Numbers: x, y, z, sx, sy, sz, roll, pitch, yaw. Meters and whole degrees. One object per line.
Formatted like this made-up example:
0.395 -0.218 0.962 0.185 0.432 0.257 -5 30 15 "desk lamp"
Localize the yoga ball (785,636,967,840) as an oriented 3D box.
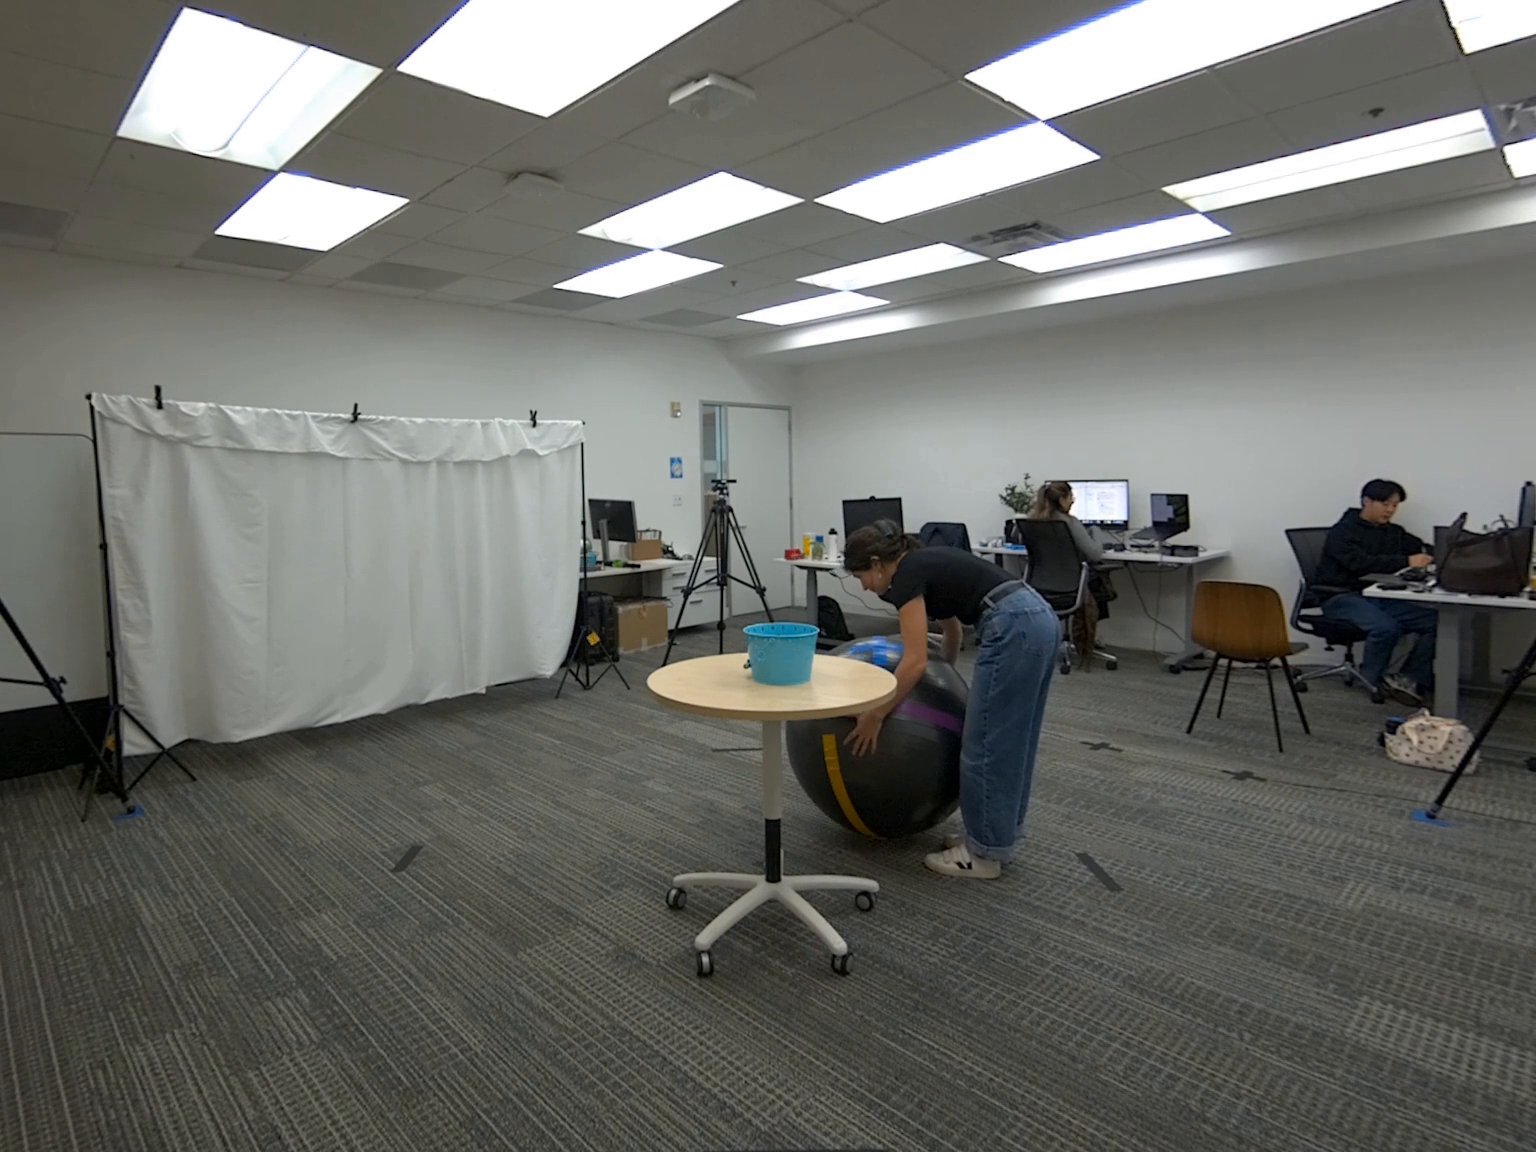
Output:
0.447 0.618 3.348 0.757 0.755 0.762 -1 5 -2 "yoga ball"
